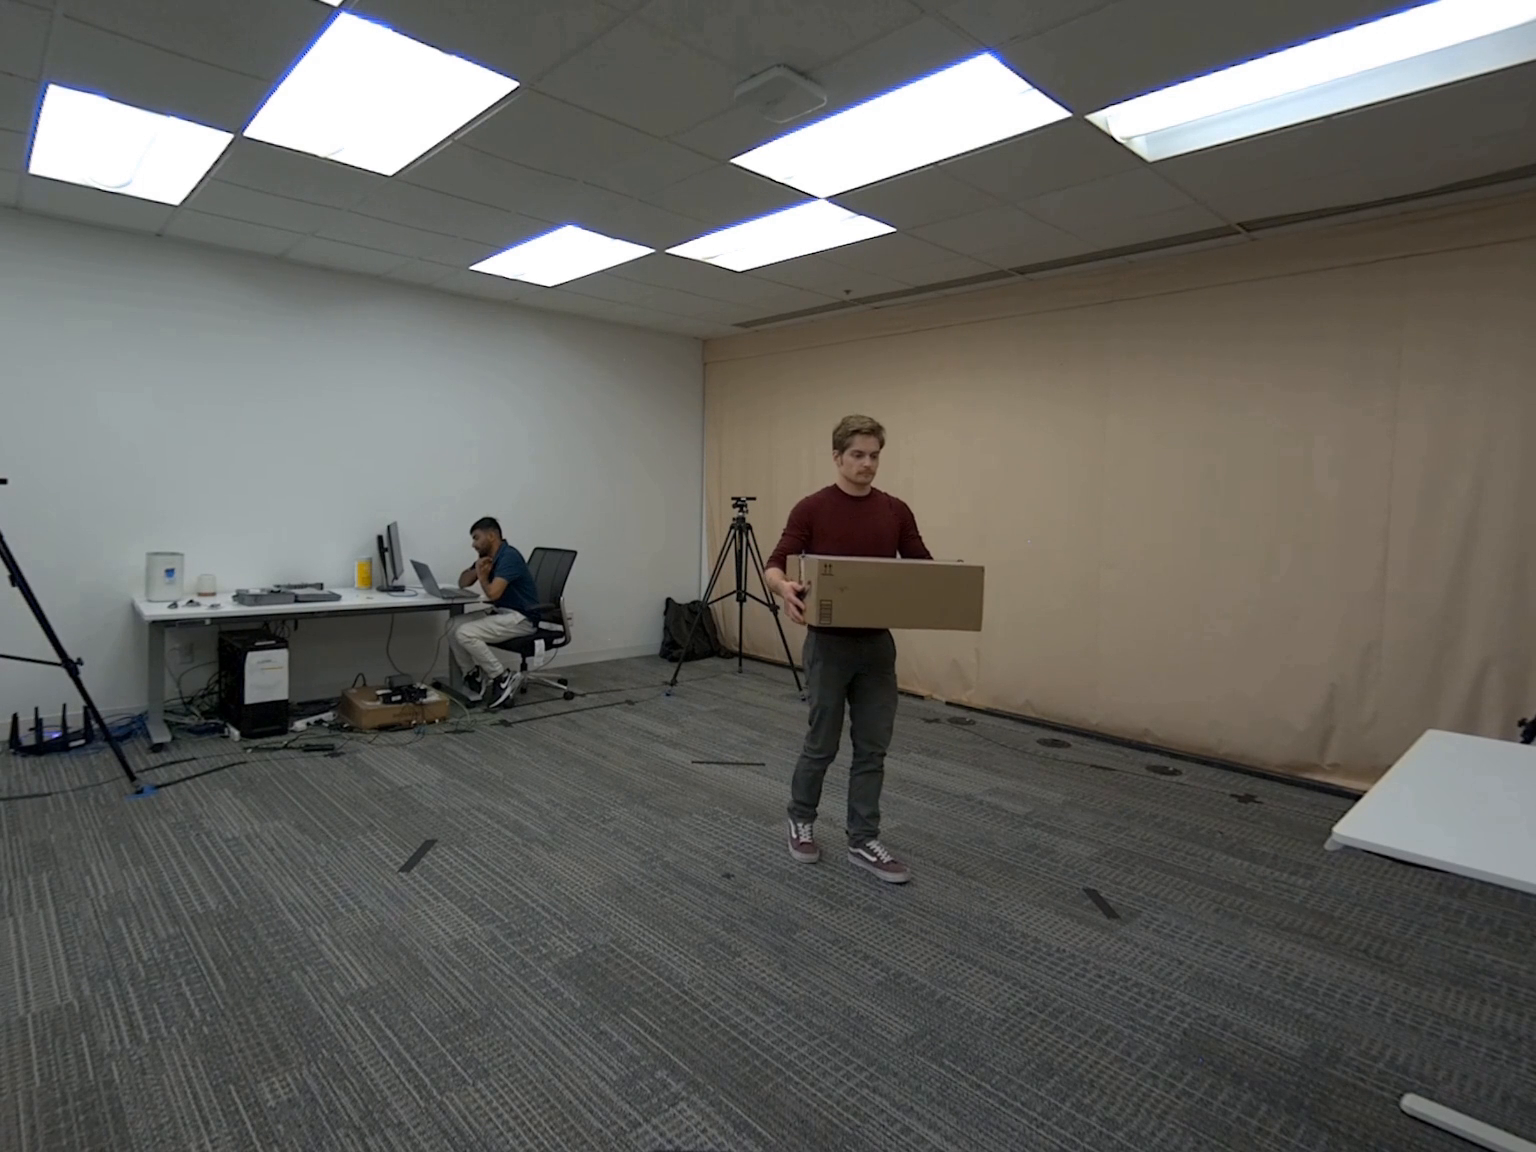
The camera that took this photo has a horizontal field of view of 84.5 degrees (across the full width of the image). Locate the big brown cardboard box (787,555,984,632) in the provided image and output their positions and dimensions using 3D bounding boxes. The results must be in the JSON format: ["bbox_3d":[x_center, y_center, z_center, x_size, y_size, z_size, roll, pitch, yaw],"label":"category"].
[{"bbox_3d":[0.373,0.051,2.889,0.583,0.233,0.422,1,1,-12],"label":"big brown cardboard box"}]
